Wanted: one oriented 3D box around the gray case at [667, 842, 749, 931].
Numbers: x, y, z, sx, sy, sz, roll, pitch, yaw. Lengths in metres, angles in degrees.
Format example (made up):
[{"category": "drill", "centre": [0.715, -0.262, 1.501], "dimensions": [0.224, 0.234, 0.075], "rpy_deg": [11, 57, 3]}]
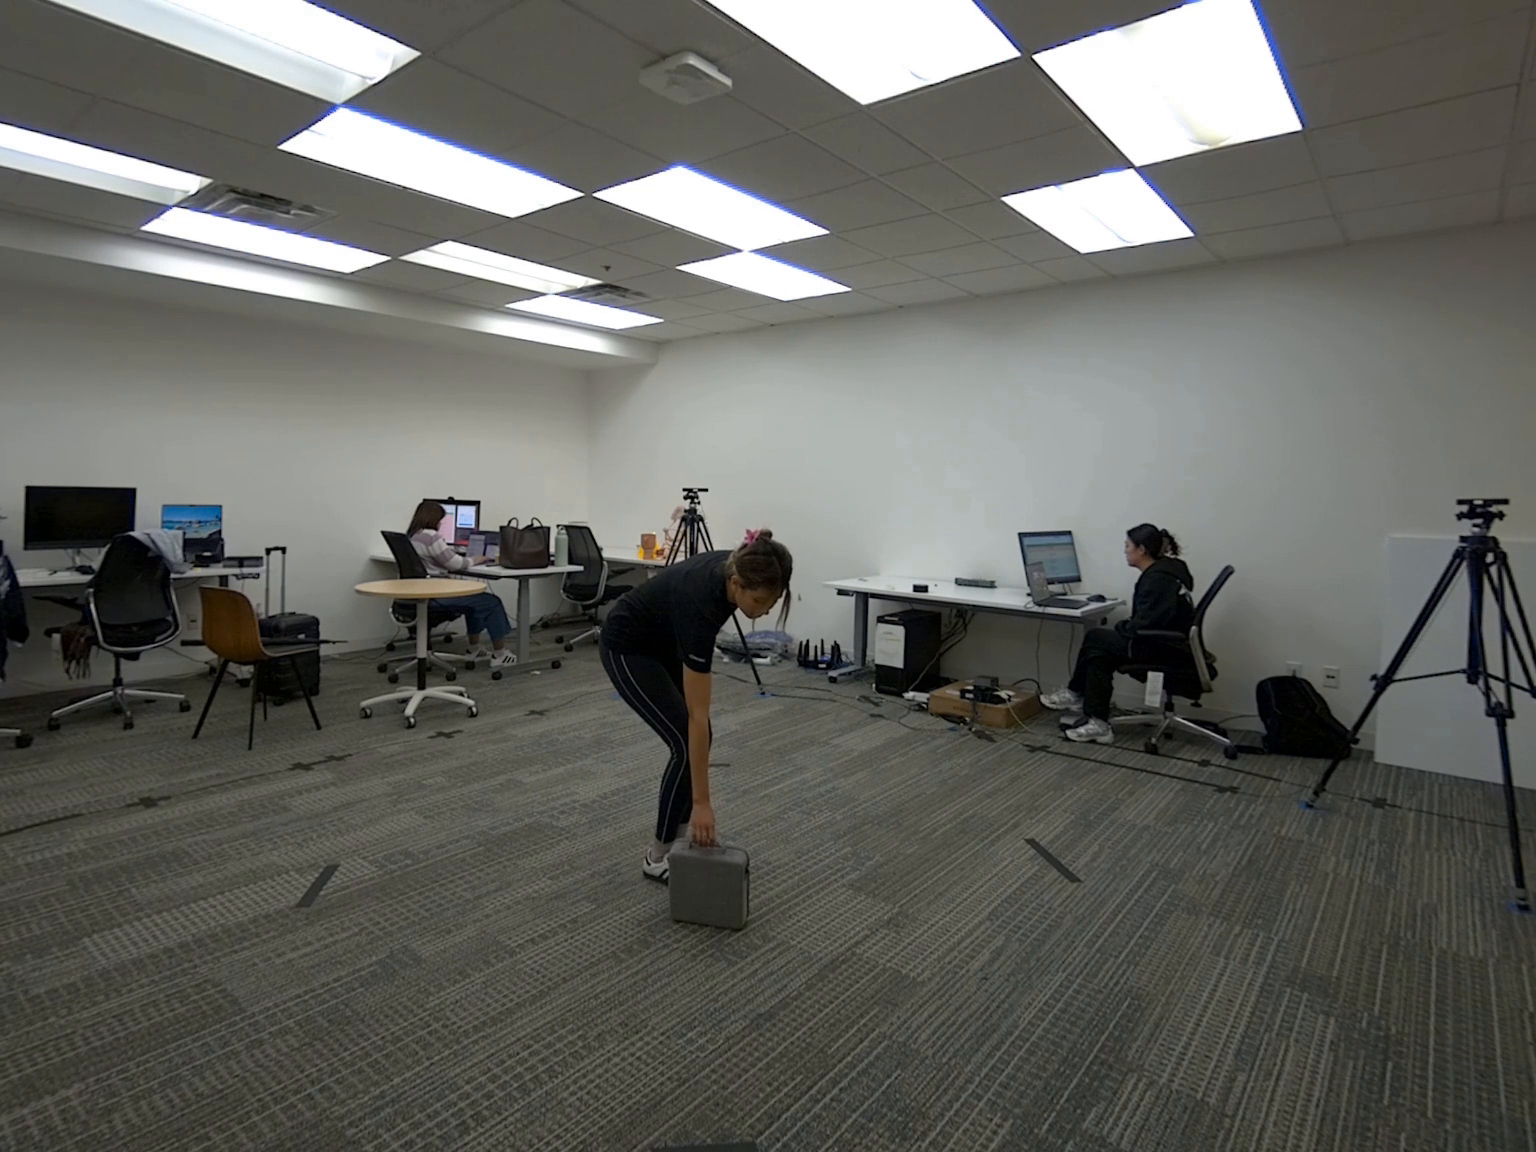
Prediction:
[{"category": "gray case", "centre": [-0.191, 0.972, 2.720], "dimensions": [0.261, 0.258, 0.104], "rpy_deg": [1, 10, 13]}]
